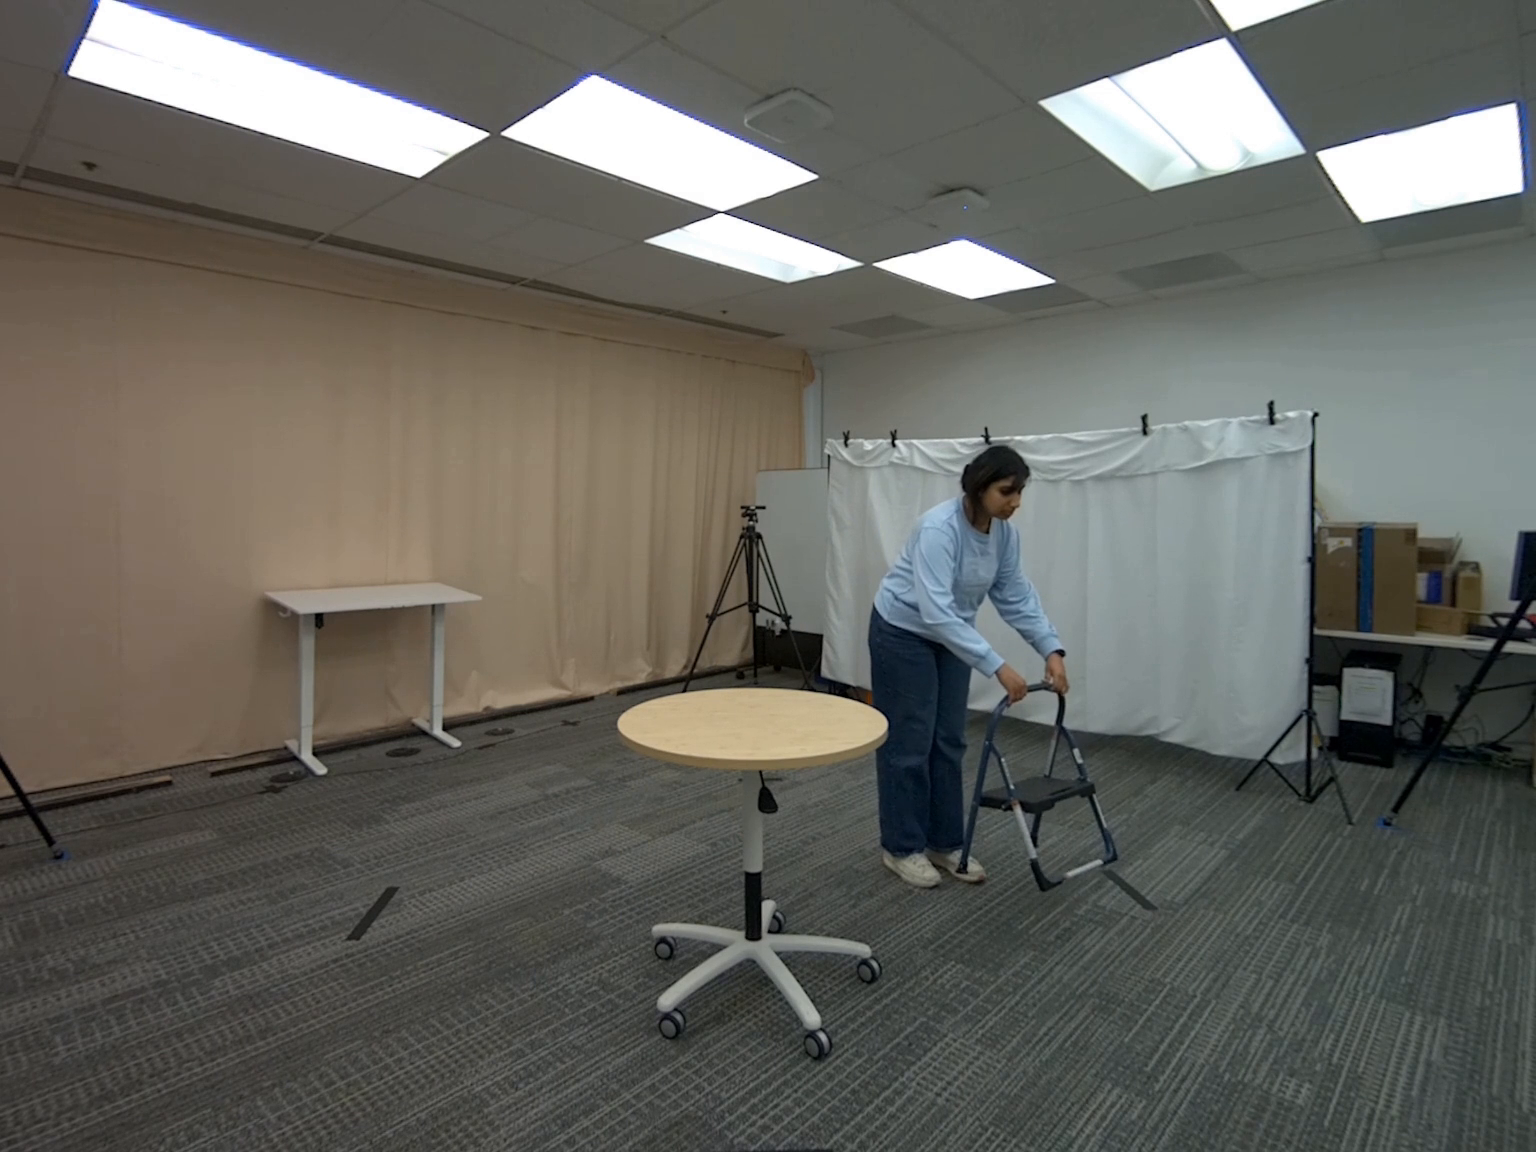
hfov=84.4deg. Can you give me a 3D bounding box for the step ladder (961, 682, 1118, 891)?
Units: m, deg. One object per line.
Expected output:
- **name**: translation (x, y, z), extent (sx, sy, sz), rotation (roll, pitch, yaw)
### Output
- **step ladder**: translation (0.880, 0.674, 2.851), extent (0.418, 0.608, 0.358), rotation (-2, -6, -38)
